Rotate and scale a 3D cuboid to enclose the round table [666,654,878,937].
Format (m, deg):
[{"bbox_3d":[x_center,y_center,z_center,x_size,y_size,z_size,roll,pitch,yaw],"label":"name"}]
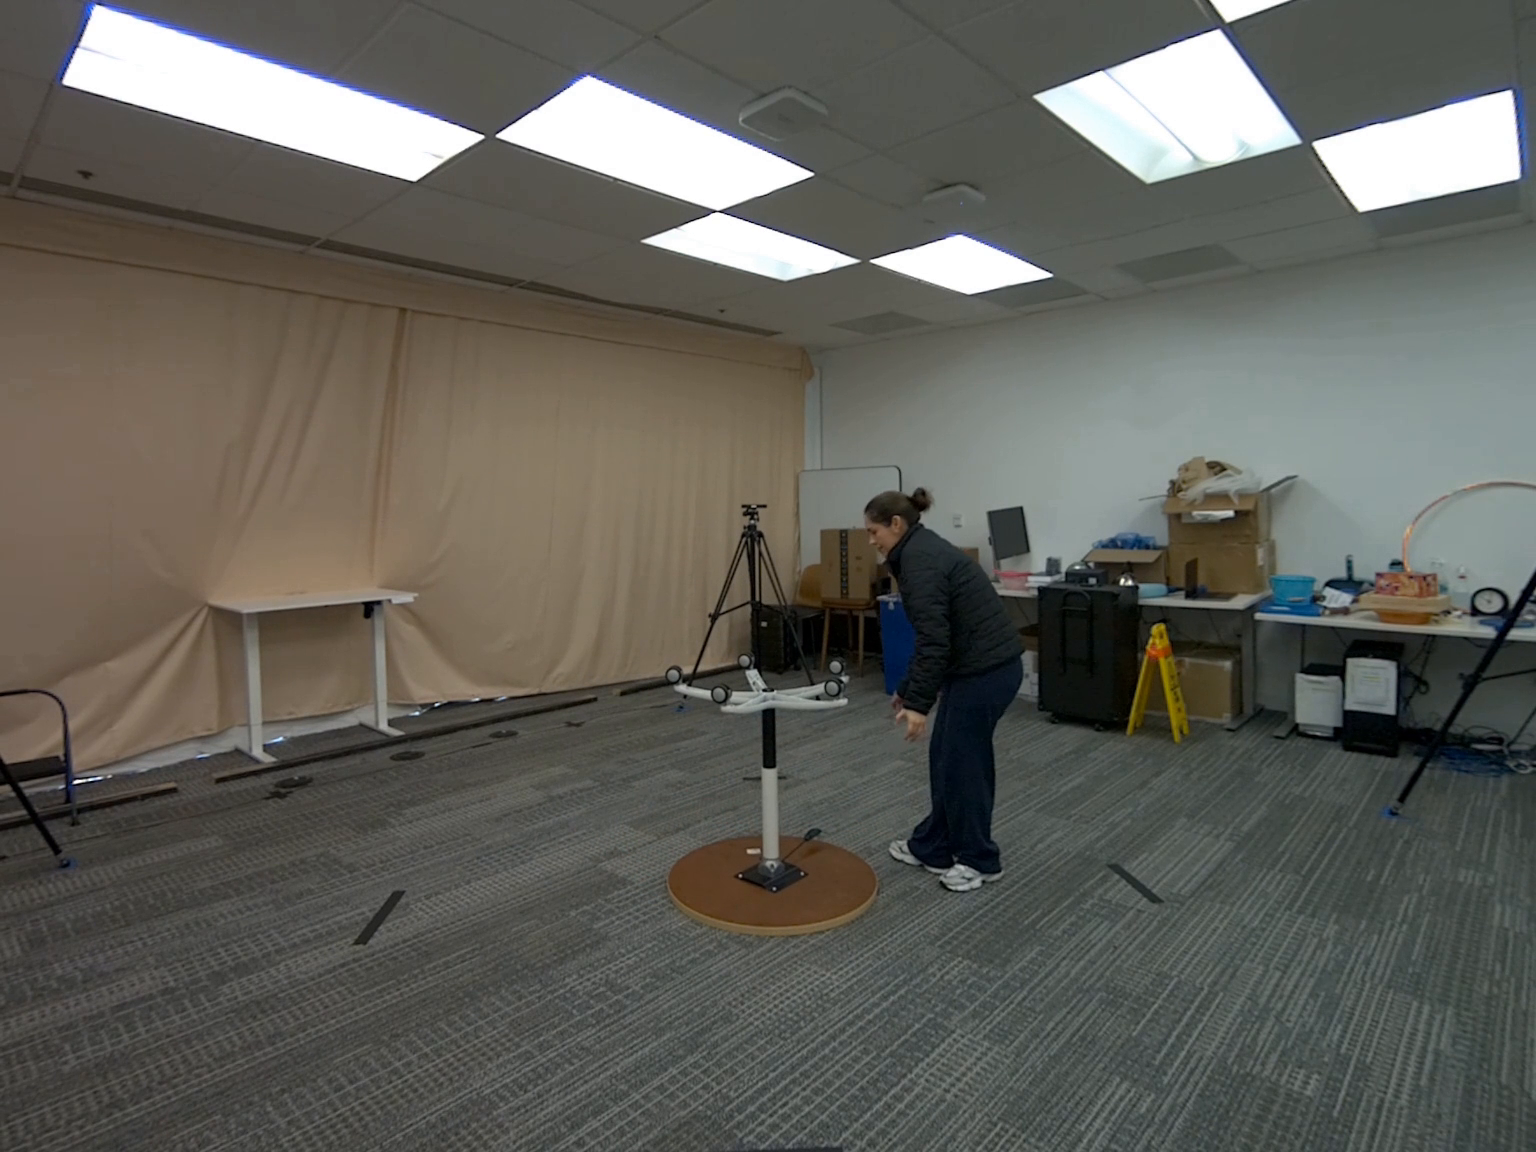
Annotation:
[{"bbox_3d":[0.025,0.731,3.089,0.784,0.784,0.788,-2,4,-2],"label":"round table"}]
